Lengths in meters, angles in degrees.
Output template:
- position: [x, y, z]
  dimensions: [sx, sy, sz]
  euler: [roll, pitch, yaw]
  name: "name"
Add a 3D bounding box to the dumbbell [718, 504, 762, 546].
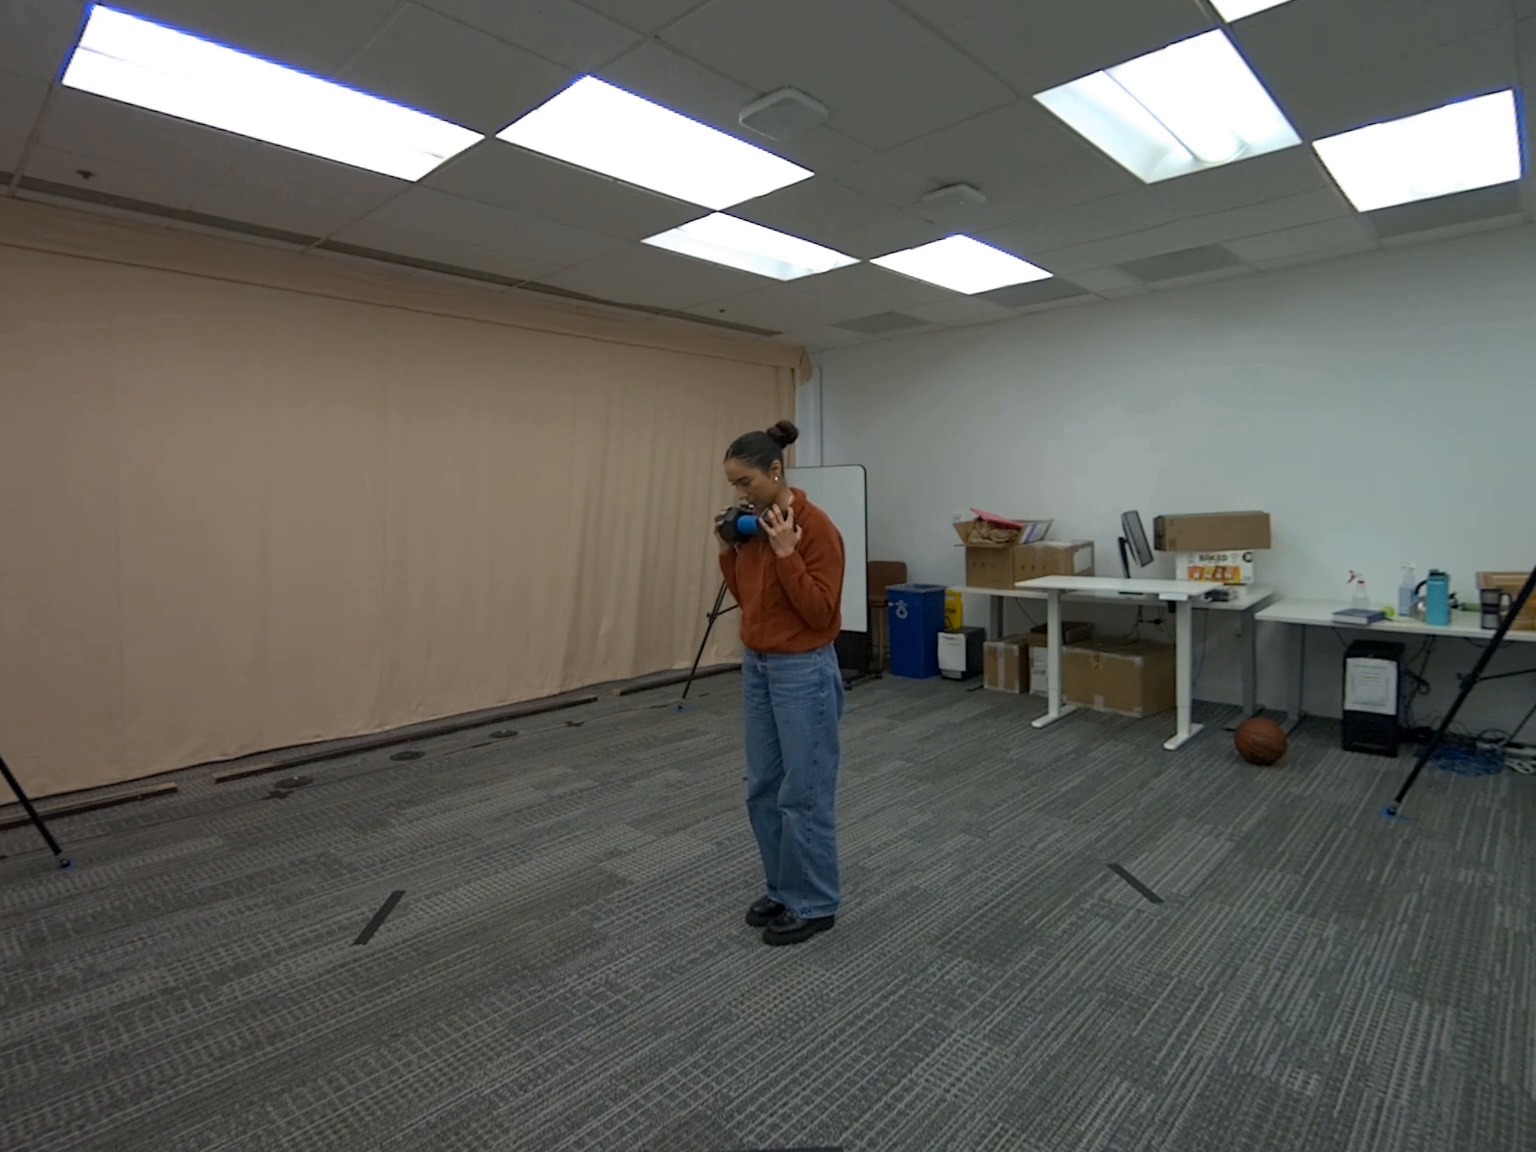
- position: [-0.036, -0.152, 2.690]
  dimensions: [0.107, 0.121, 0.303]
  euler: [-32, 23, -29]
  name: "dumbbell"
